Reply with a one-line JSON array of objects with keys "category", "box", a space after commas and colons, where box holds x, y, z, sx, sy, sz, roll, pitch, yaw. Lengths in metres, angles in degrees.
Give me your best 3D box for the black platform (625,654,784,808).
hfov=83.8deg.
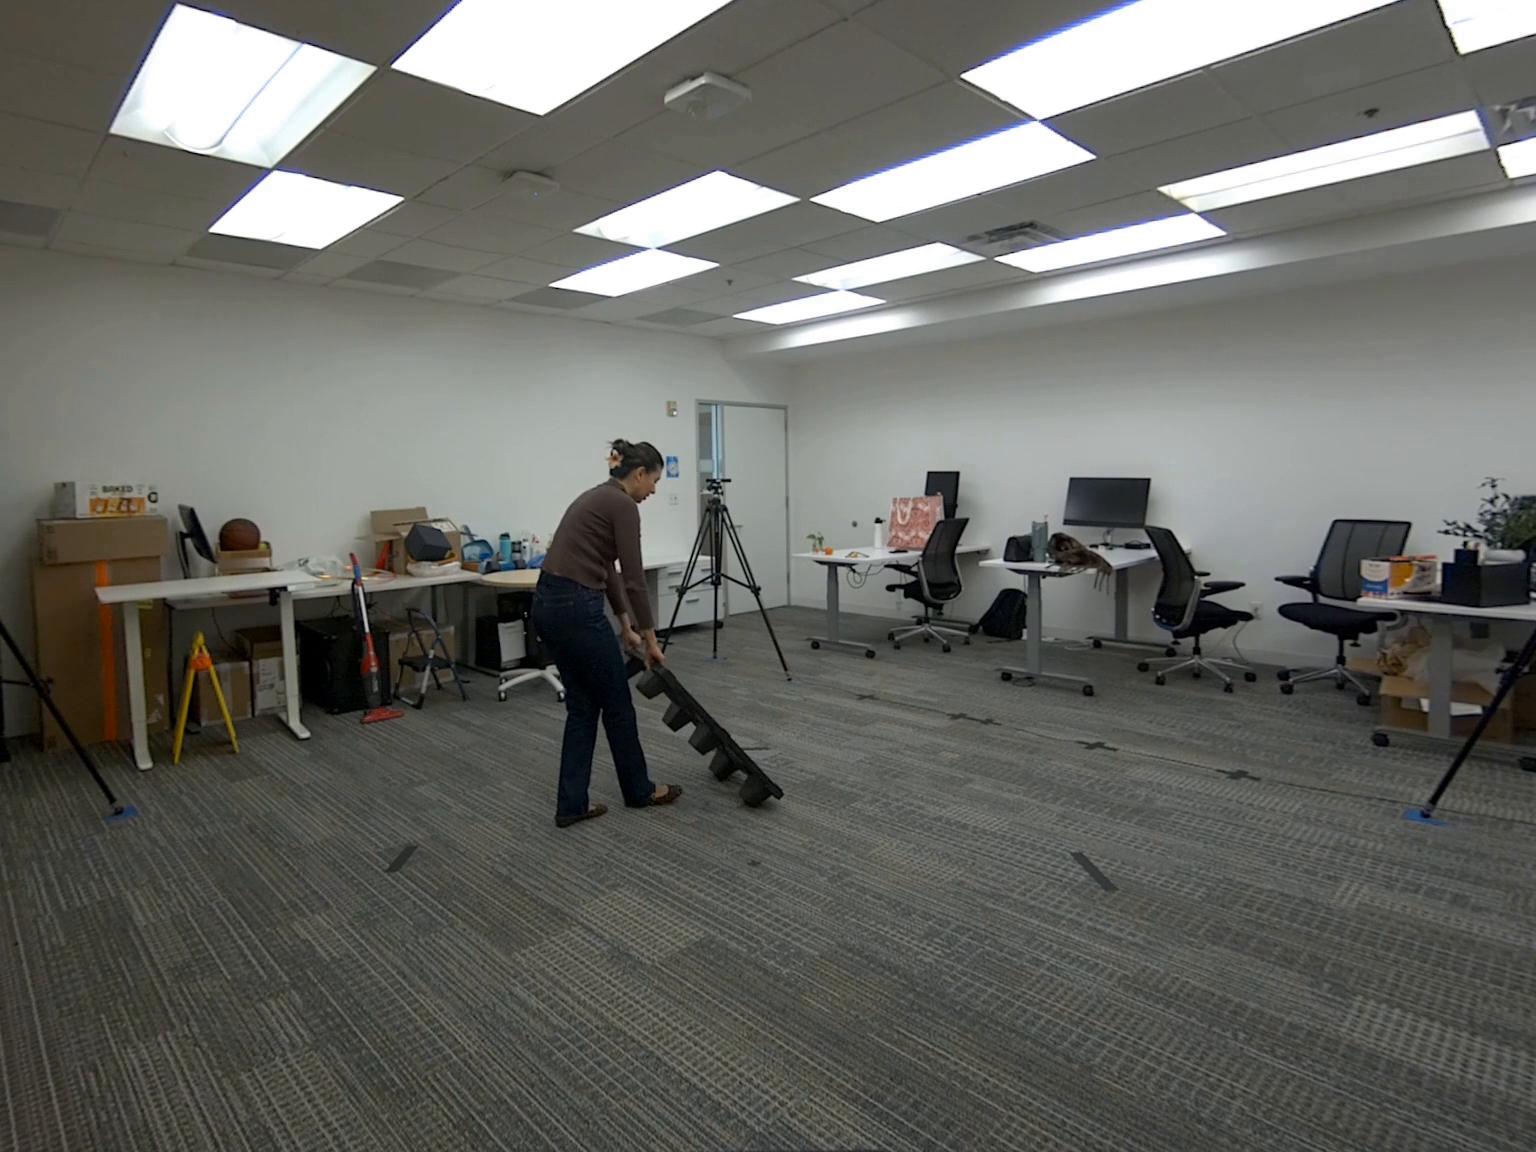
[{"category": "black platform", "box": [-0.334, 0.654, 3.764, 0.143, 0.789, 0.619, -45, 18, -16]}]
